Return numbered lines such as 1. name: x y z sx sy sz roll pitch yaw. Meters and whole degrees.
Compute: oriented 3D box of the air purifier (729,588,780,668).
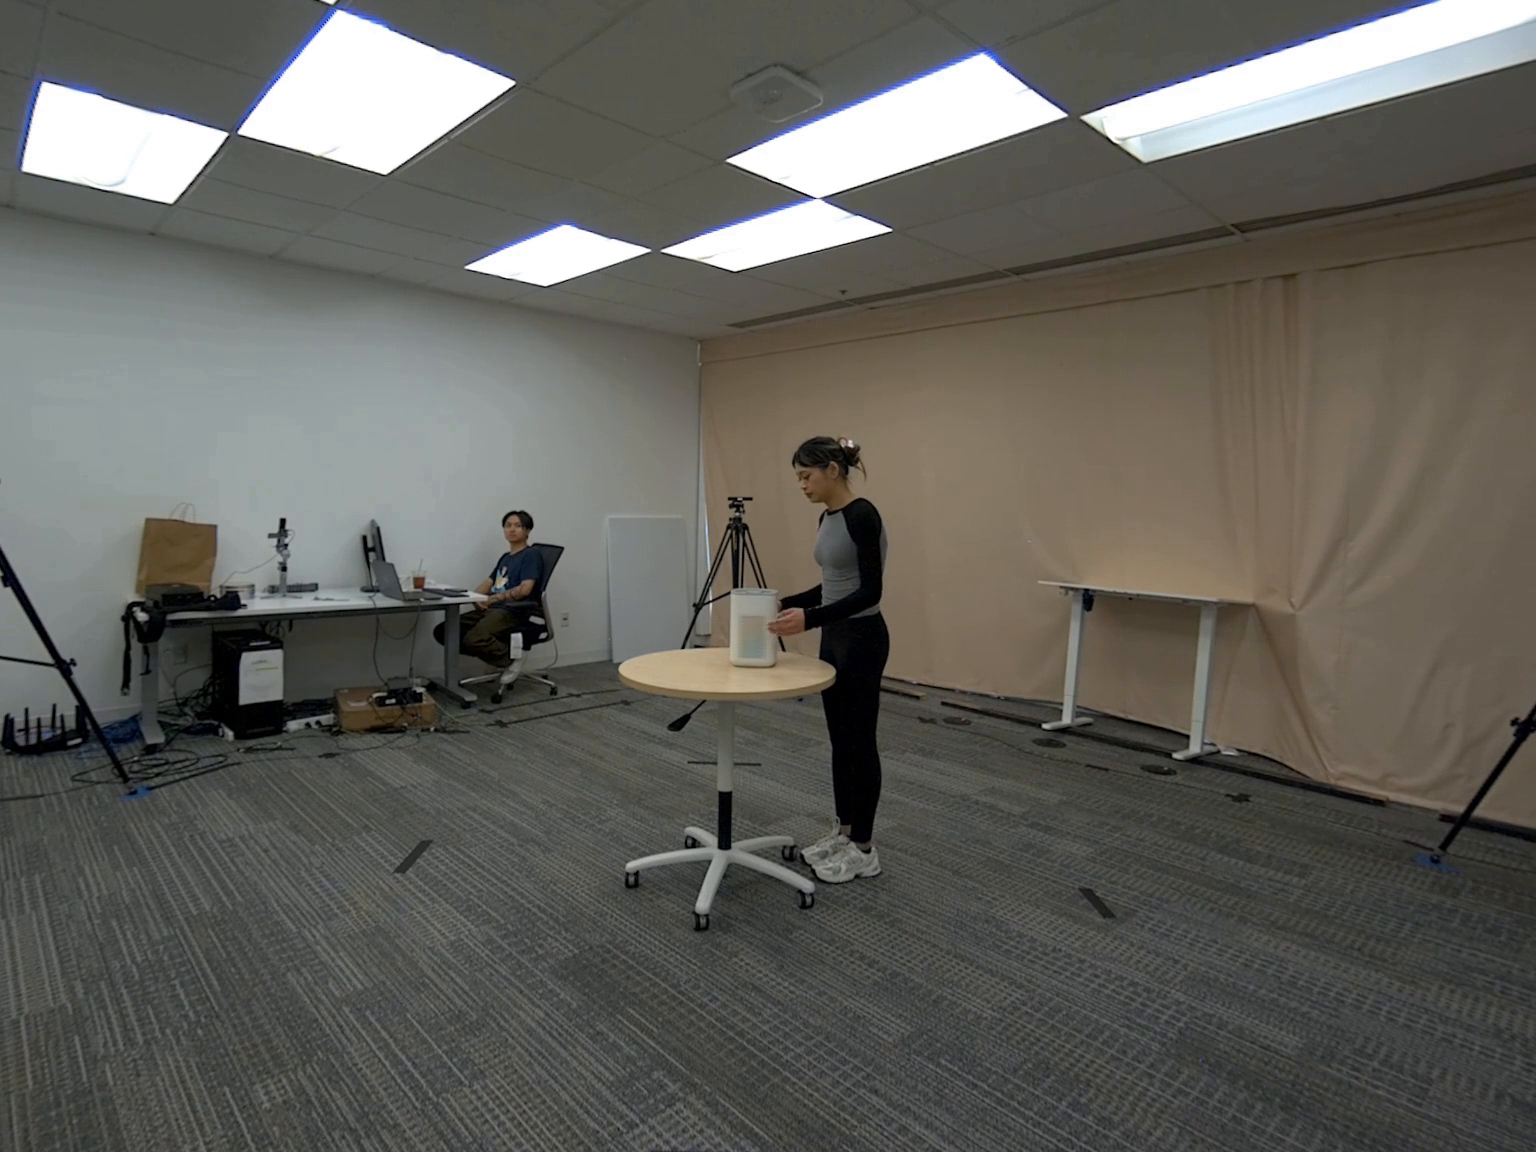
1. air purifier: -0.053 0.186 3.048 0.172 0.265 0.171 2 4 4
